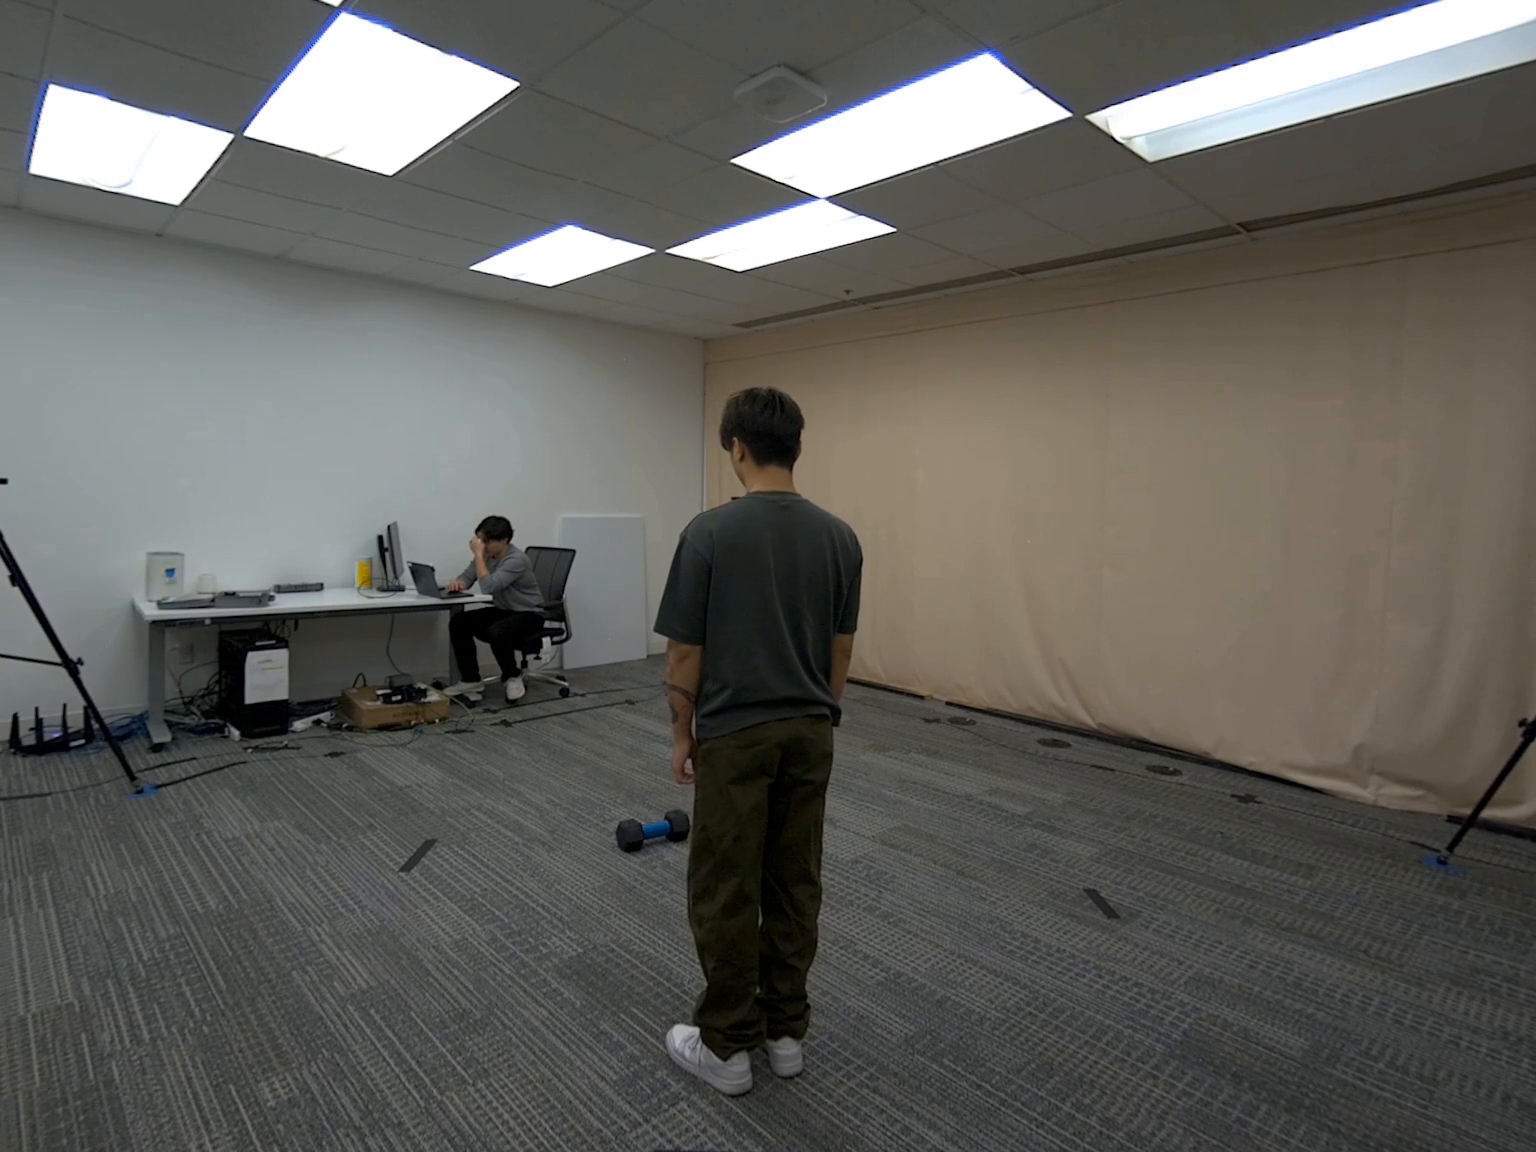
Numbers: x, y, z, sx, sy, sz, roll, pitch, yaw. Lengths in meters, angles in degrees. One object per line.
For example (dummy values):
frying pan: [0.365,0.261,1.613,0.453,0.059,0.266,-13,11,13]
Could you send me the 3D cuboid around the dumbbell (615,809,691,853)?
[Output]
dumbbell: [-0.468,1.022,3.381,0.287,0.125,0.109,-2,-25,-34]
